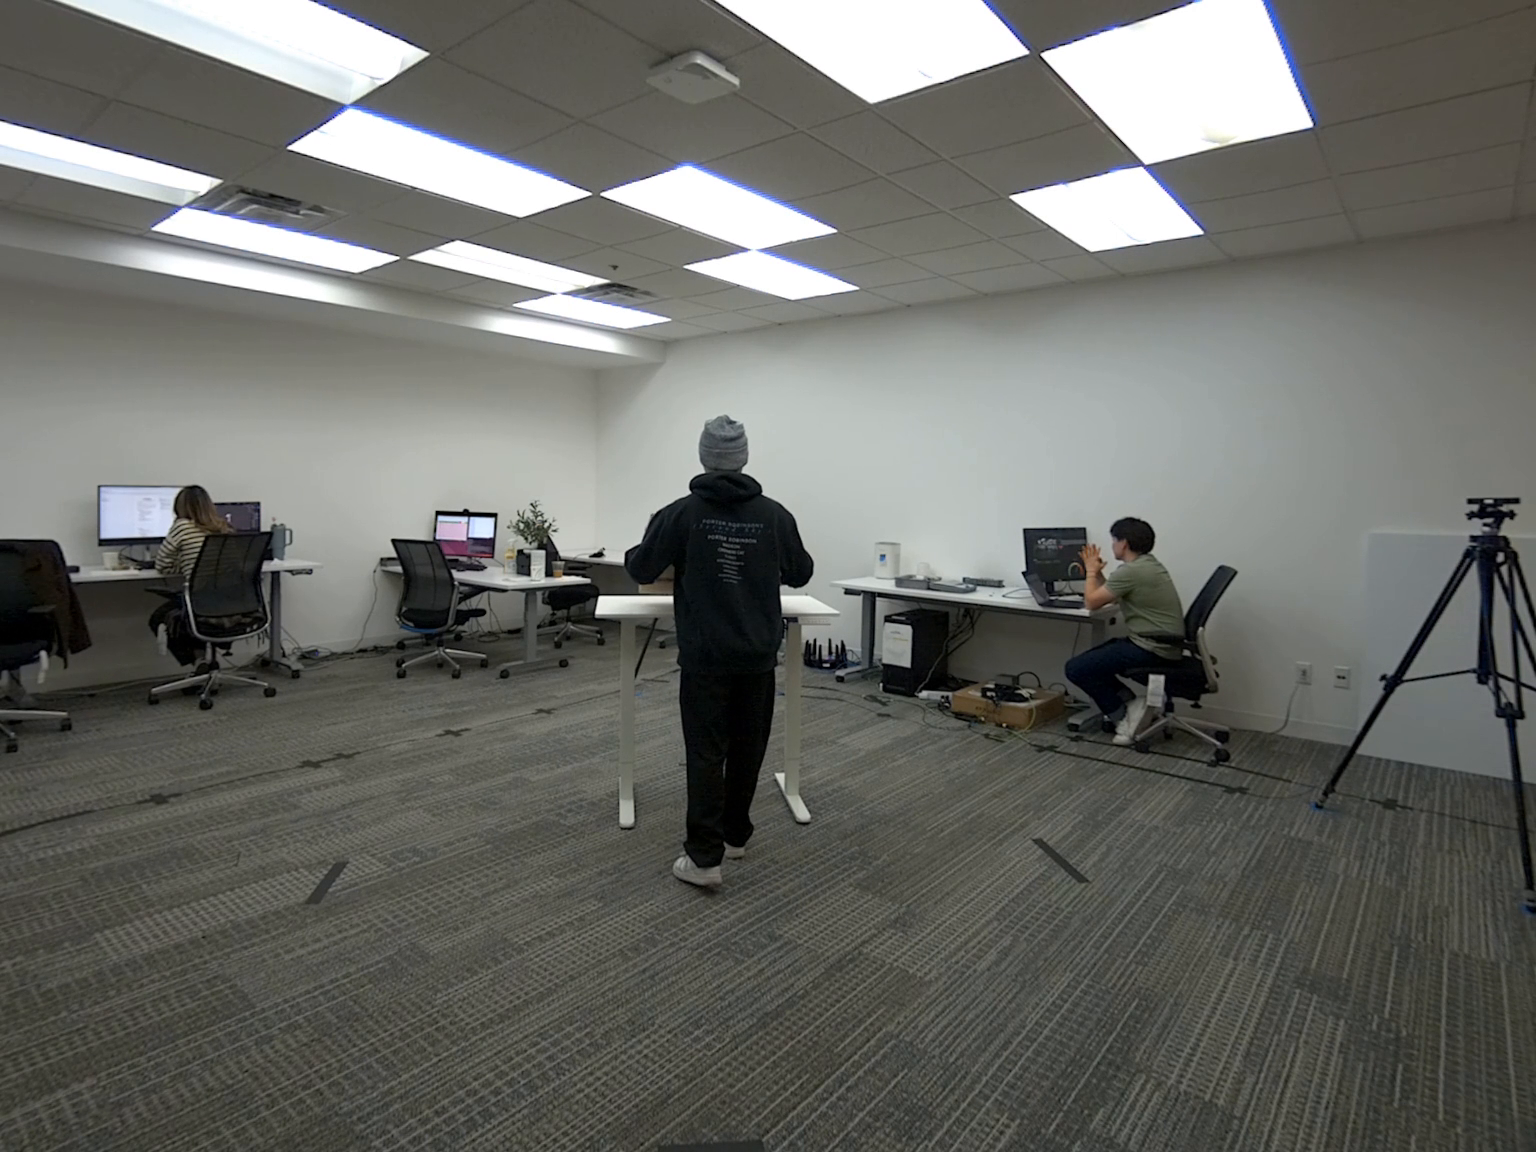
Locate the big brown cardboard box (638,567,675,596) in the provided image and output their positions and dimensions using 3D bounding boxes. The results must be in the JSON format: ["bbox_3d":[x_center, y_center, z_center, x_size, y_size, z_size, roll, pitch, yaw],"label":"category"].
[{"bbox_3d":[-0.252,-0.077,3.644,0.581,0.238,0.415,3,-20,-13],"label":"big brown cardboard box"}]
